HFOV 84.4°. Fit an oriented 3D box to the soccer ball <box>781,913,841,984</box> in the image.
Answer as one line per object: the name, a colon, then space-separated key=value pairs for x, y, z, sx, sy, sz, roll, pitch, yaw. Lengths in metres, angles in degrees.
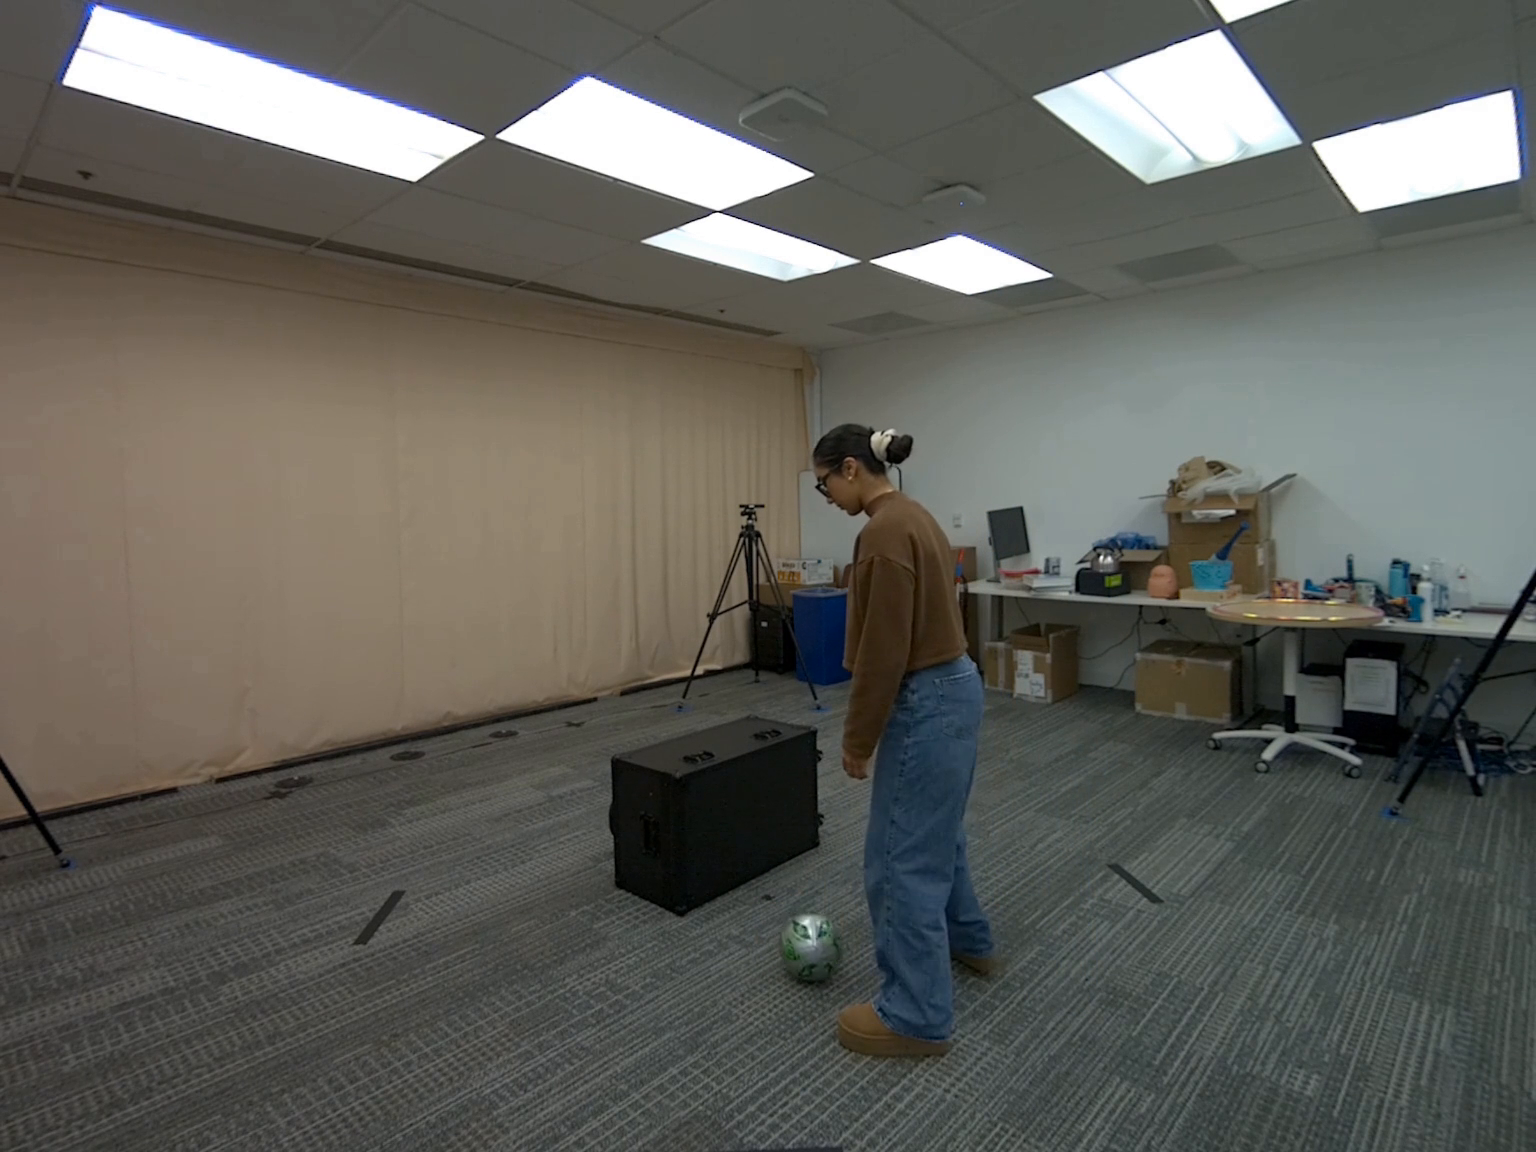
soccer ball: x=0.125 y=1.082 z=2.490 sx=0.187 sy=0.187 sz=0.188 roll=-1 pitch=4 yaw=-2
